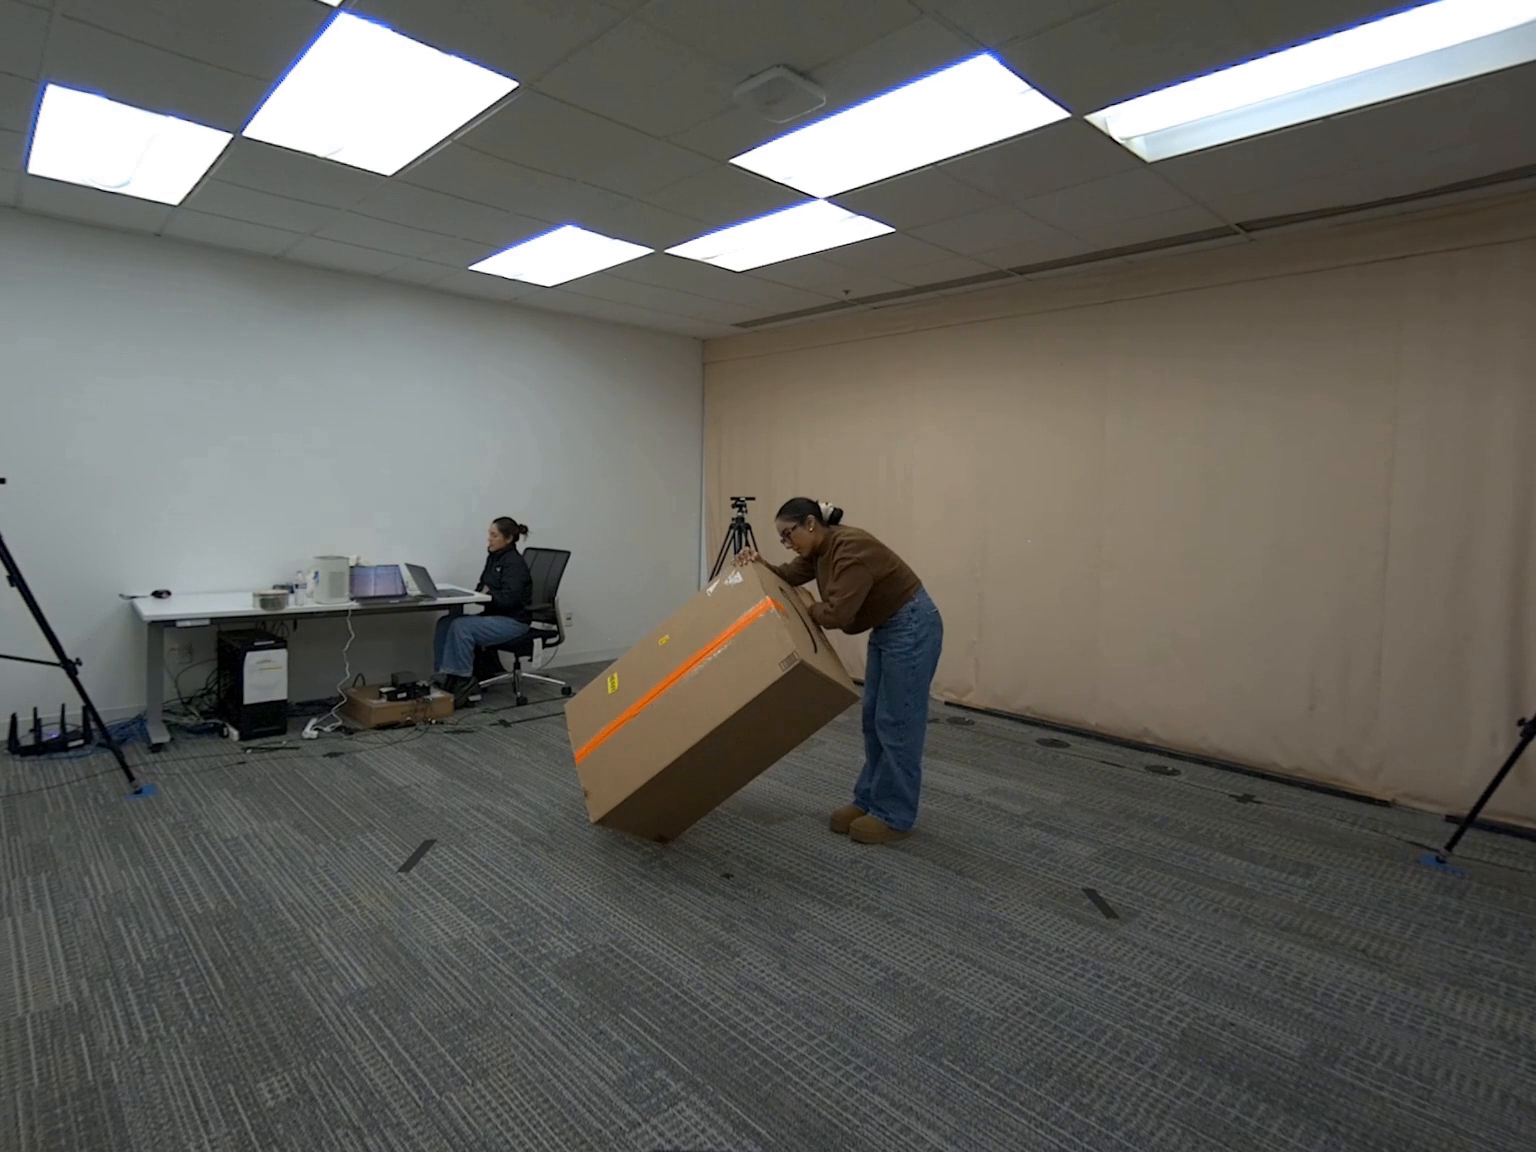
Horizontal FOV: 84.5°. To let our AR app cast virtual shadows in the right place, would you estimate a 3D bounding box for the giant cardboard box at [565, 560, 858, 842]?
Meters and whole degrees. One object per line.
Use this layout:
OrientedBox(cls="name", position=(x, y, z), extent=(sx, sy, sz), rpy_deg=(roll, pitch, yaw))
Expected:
OrientedBox(cls="giant cardboard box", position=(-0.257, 0.501, 3.312), extent=(0.432, 1.029, 0.602), rpy_deg=(38, 18, -45))
